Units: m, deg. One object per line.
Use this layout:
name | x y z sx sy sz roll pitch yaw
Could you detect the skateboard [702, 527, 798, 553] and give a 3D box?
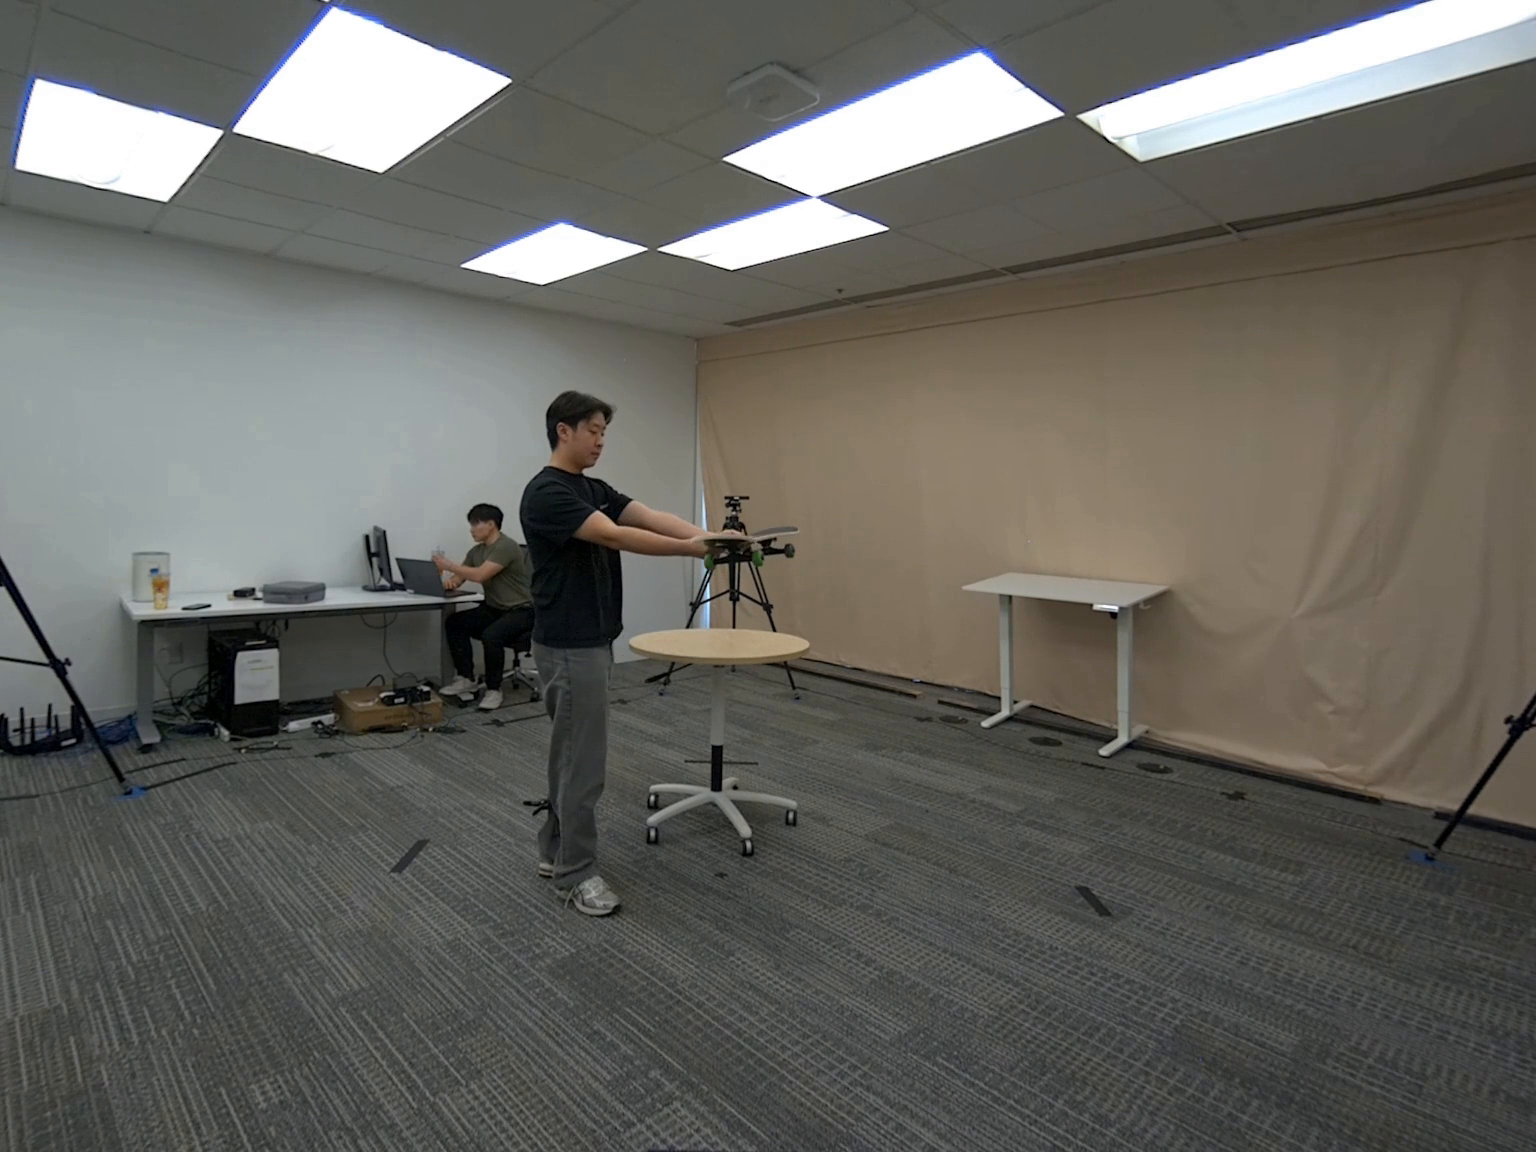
skateboard | -0.066 -0.091 2.751 0.196 0.110 0.777 -5 3 15
